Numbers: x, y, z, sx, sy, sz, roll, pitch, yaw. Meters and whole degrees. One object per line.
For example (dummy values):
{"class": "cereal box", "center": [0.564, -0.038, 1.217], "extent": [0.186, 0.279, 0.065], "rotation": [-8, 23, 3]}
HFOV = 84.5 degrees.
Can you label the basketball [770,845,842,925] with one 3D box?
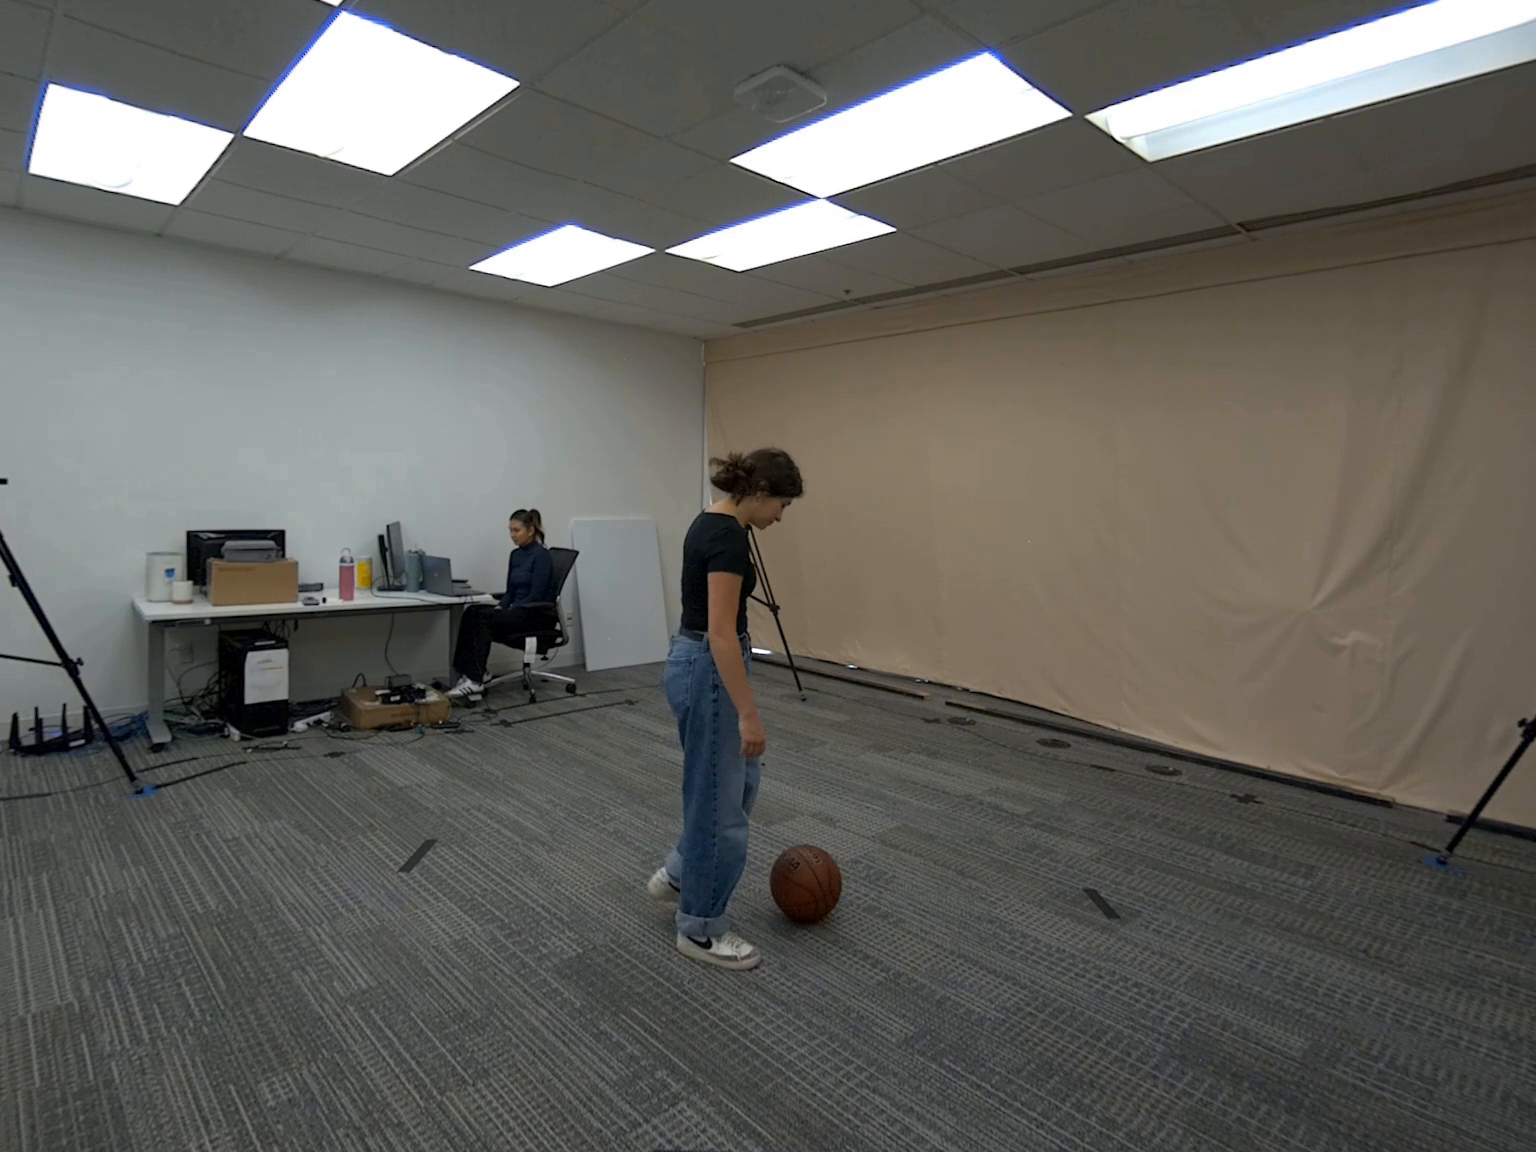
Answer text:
{"class": "basketball", "center": [0.119, 1.020, 2.798], "extent": [0.236, 0.235, 0.237], "rotation": [1, 4, -1]}
